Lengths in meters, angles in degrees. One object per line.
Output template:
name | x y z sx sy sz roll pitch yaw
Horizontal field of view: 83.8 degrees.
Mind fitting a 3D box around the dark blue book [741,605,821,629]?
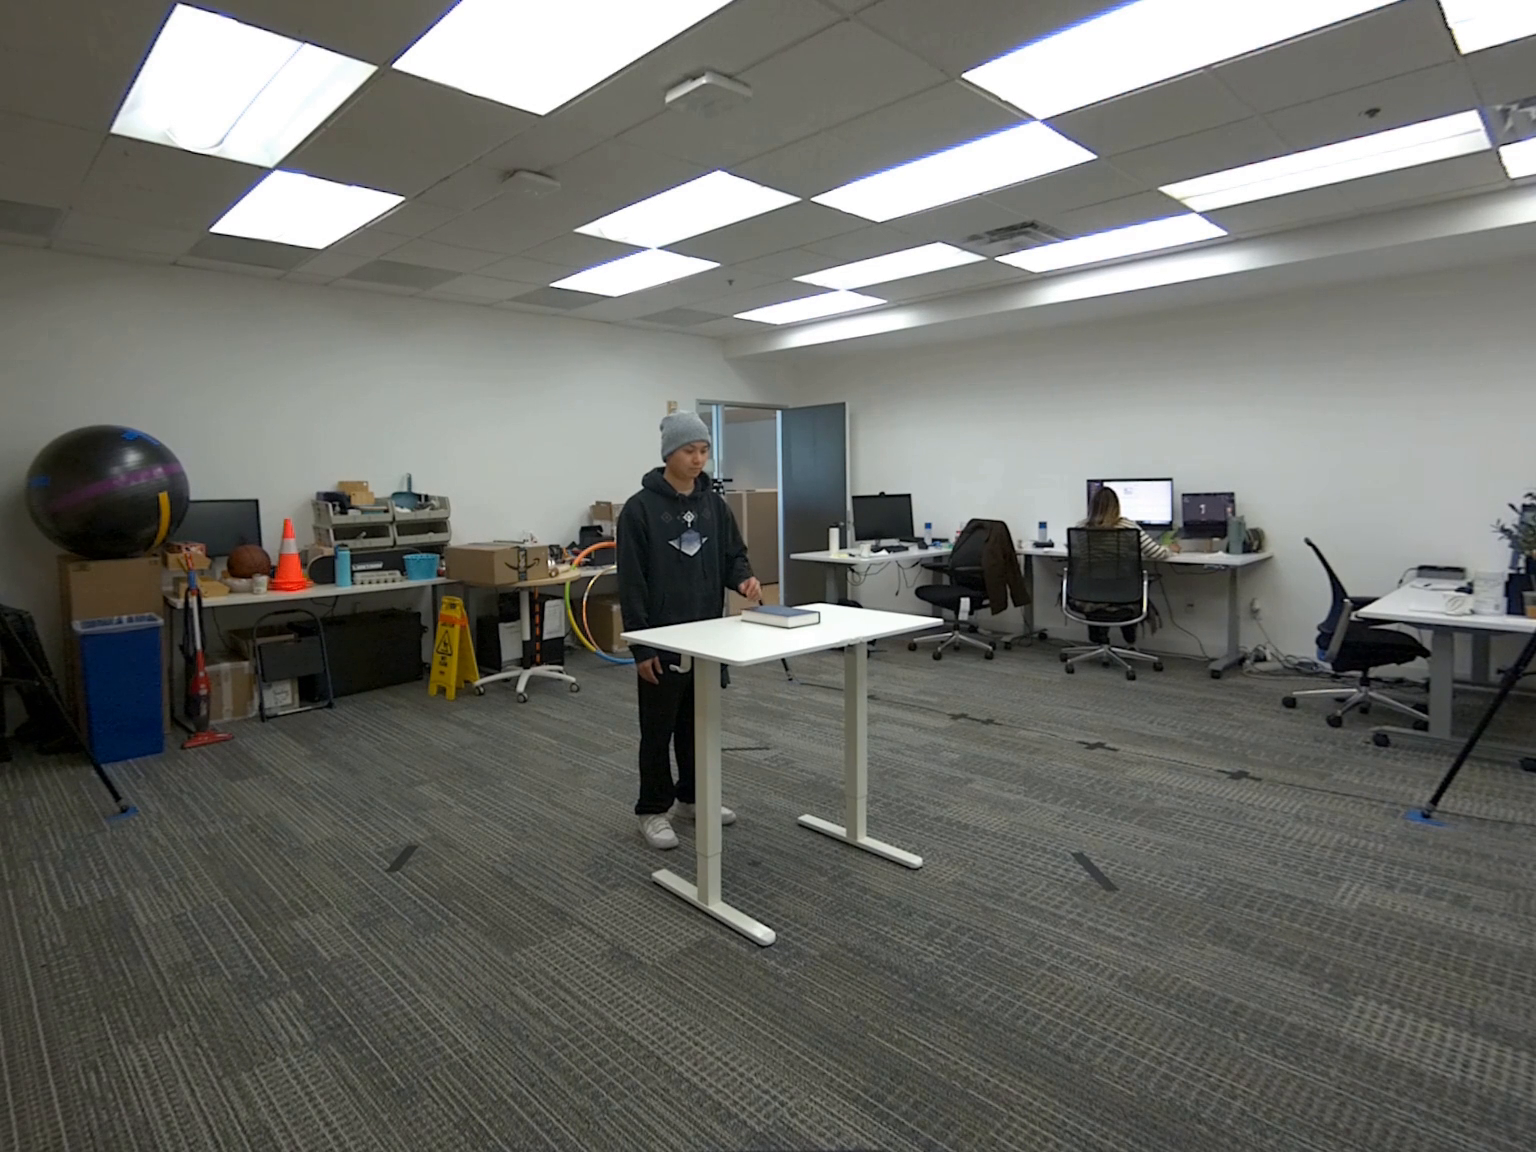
dark blue book | 0.059 0.146 3.055 0.159 0.045 0.253 -6 8 -43
